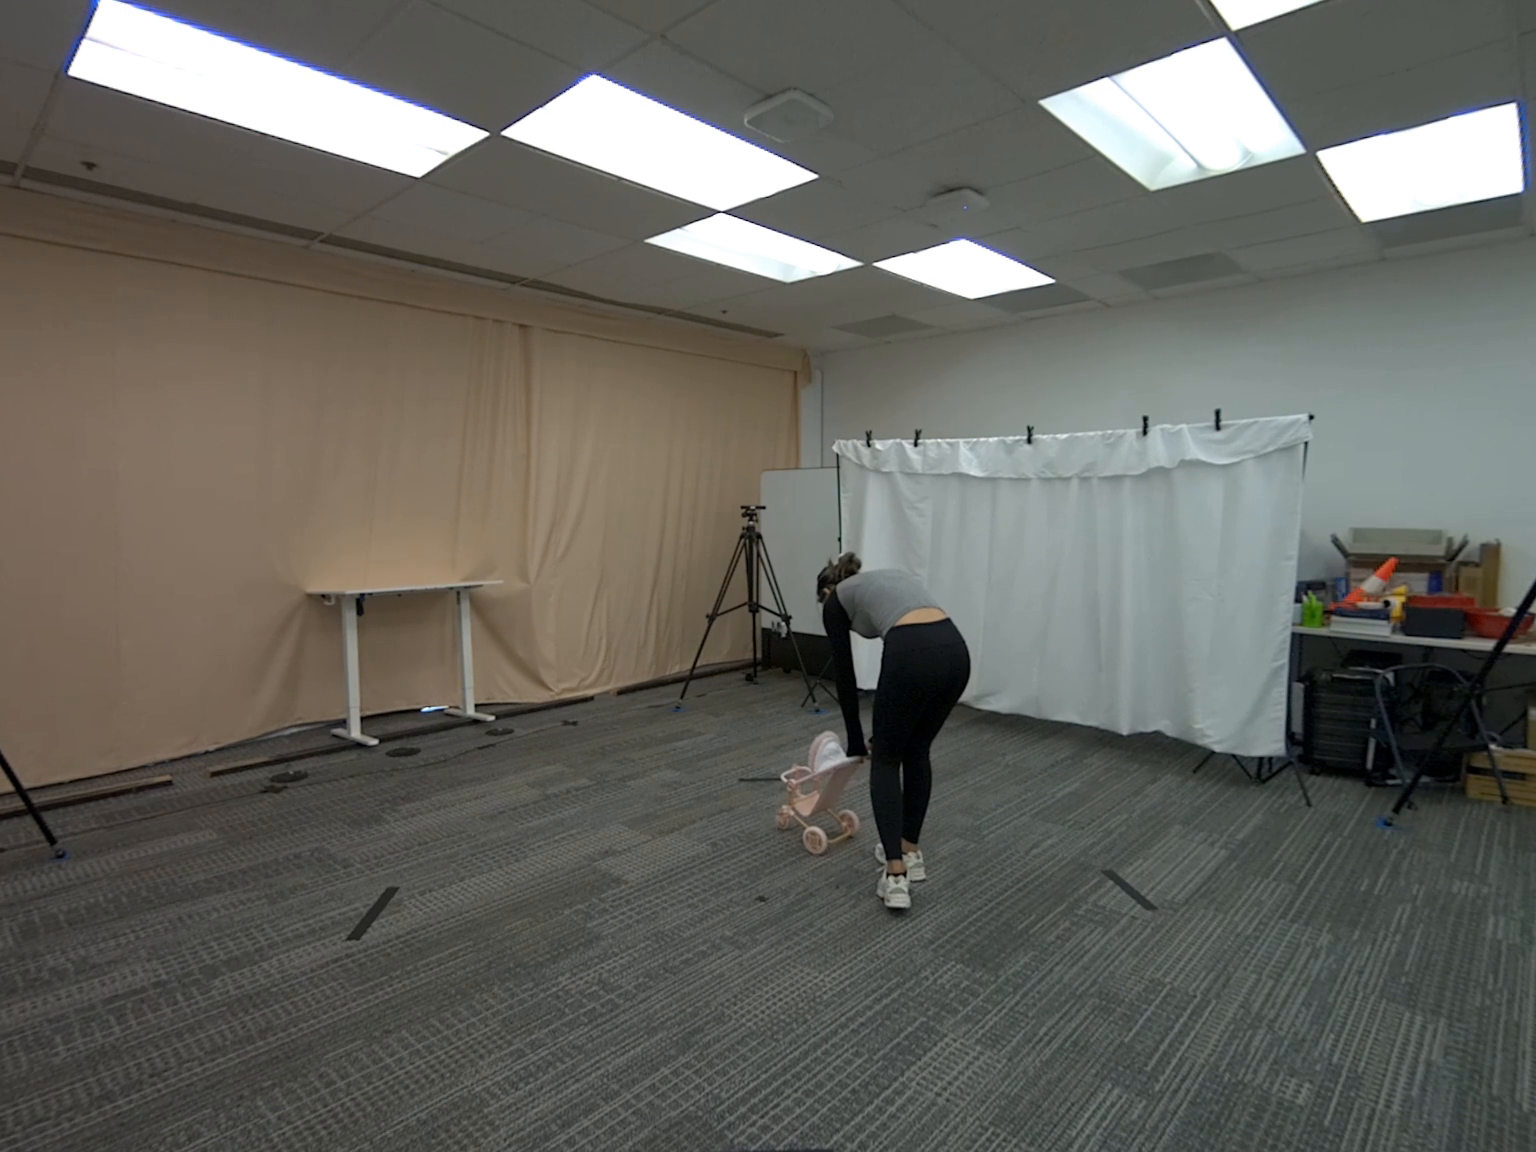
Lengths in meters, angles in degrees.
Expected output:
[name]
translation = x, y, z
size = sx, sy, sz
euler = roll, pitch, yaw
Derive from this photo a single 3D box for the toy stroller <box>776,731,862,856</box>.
[toy stroller]
translation = 0.222, 0.876, 3.492
size = 0.354, 0.532, 0.272
euler = 26, 19, 40
